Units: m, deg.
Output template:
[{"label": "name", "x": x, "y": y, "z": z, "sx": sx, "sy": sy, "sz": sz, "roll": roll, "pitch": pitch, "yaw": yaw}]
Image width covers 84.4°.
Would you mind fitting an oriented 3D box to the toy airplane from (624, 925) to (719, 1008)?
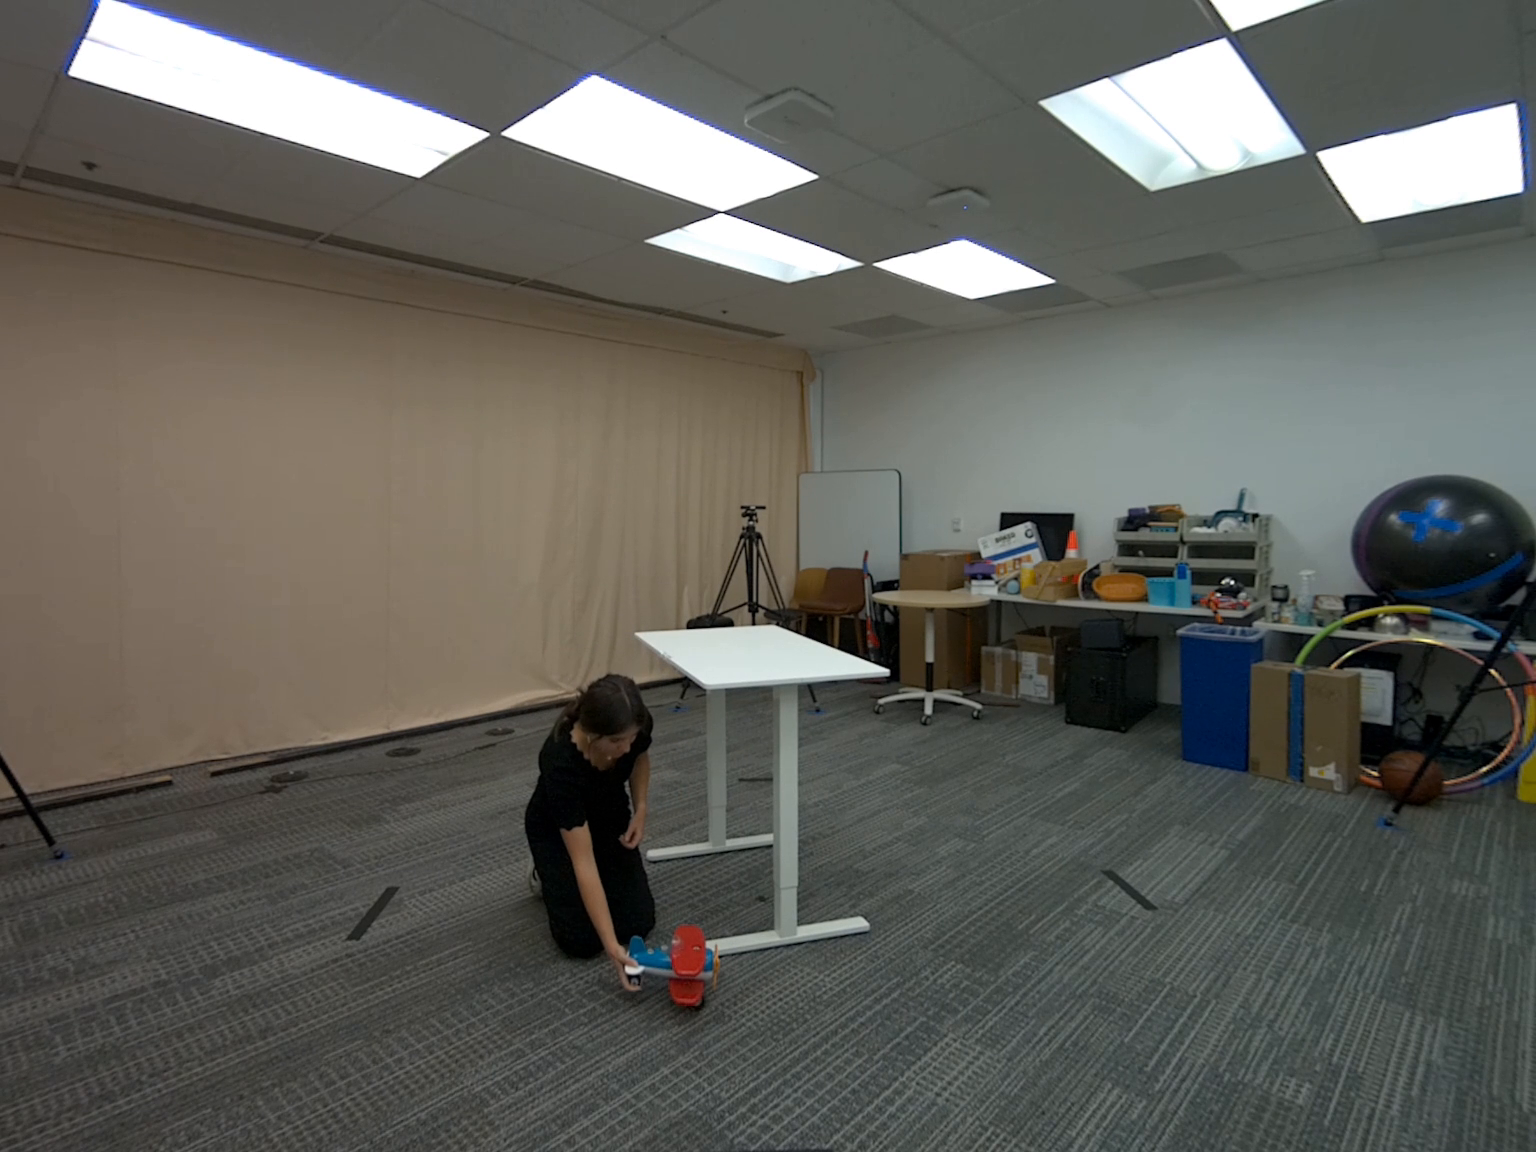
[{"label": "toy airplane", "x": -0.270, "y": 1.099, "z": 2.345, "sx": 0.251, "sy": 0.156, "sz": 0.259, "roll": 17, "pitch": 4, "yaw": -30}]
